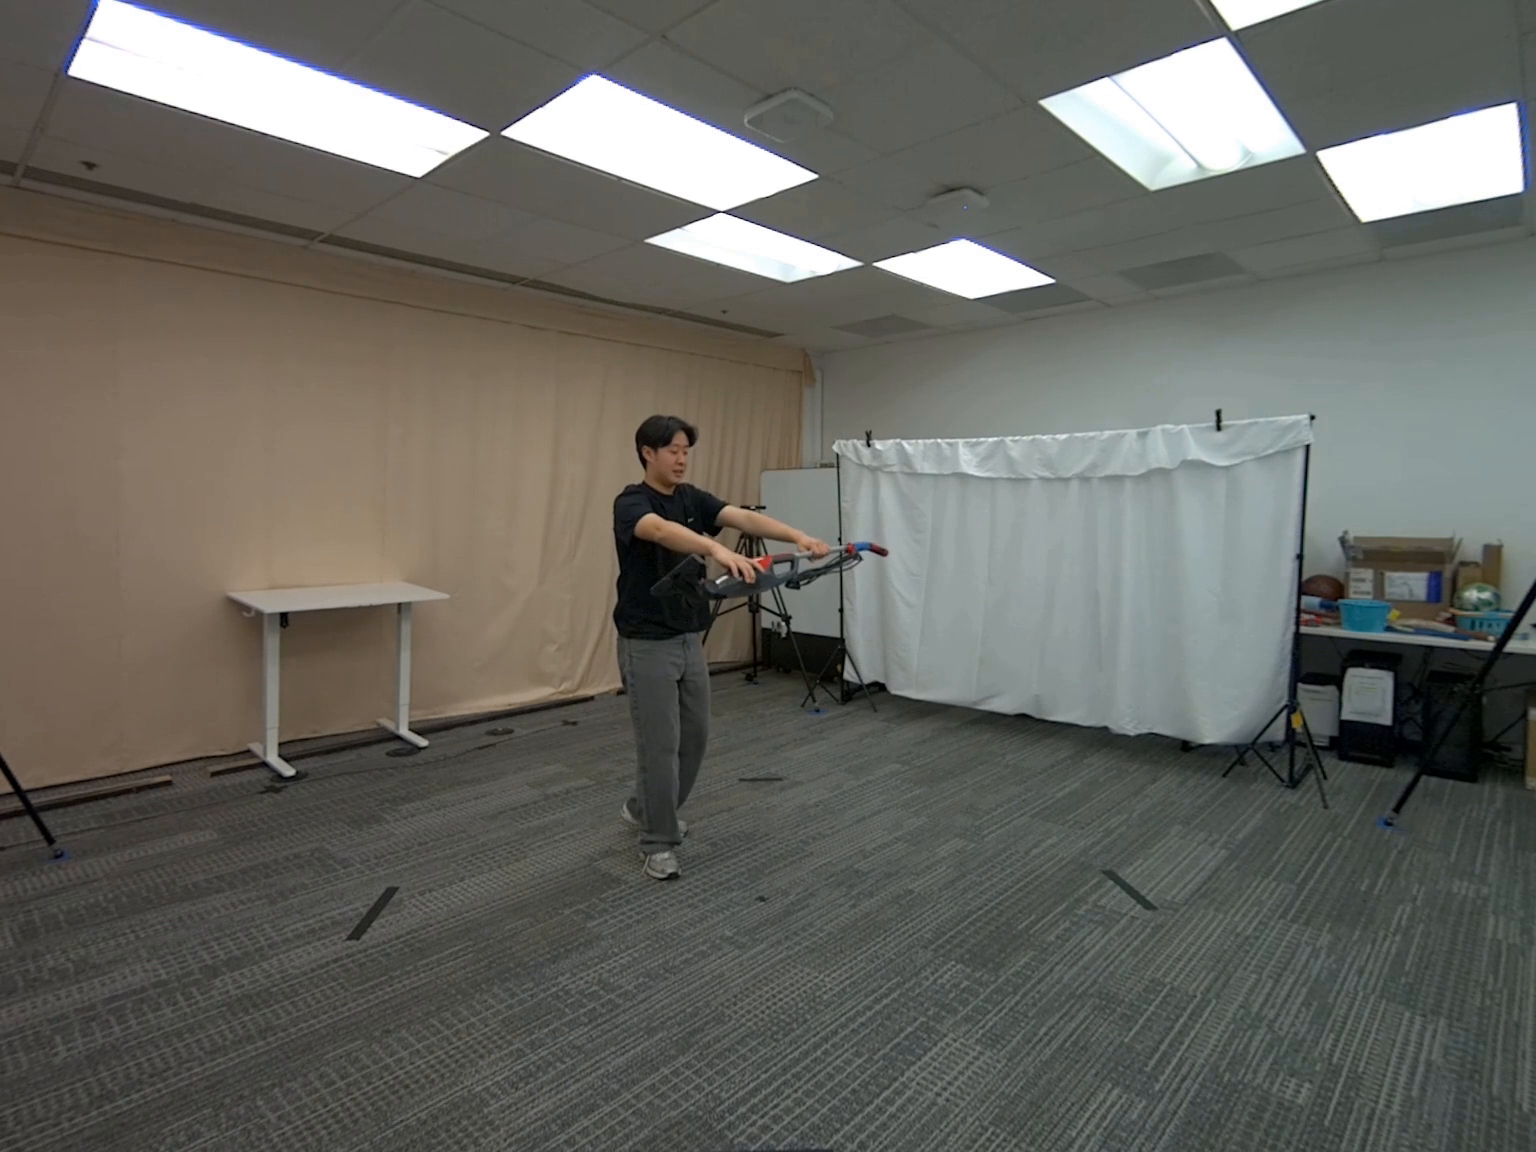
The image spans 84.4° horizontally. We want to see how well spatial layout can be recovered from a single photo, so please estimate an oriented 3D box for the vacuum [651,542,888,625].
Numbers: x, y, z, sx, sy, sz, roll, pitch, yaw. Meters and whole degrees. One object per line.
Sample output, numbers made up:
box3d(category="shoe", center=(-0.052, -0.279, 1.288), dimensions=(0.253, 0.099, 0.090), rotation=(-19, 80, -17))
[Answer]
box3d(category="vacuum", center=(0.110, -0.030, 2.965), dimensions=(1.019, 0.146, 0.257), rotation=(-10, -15, -43))
